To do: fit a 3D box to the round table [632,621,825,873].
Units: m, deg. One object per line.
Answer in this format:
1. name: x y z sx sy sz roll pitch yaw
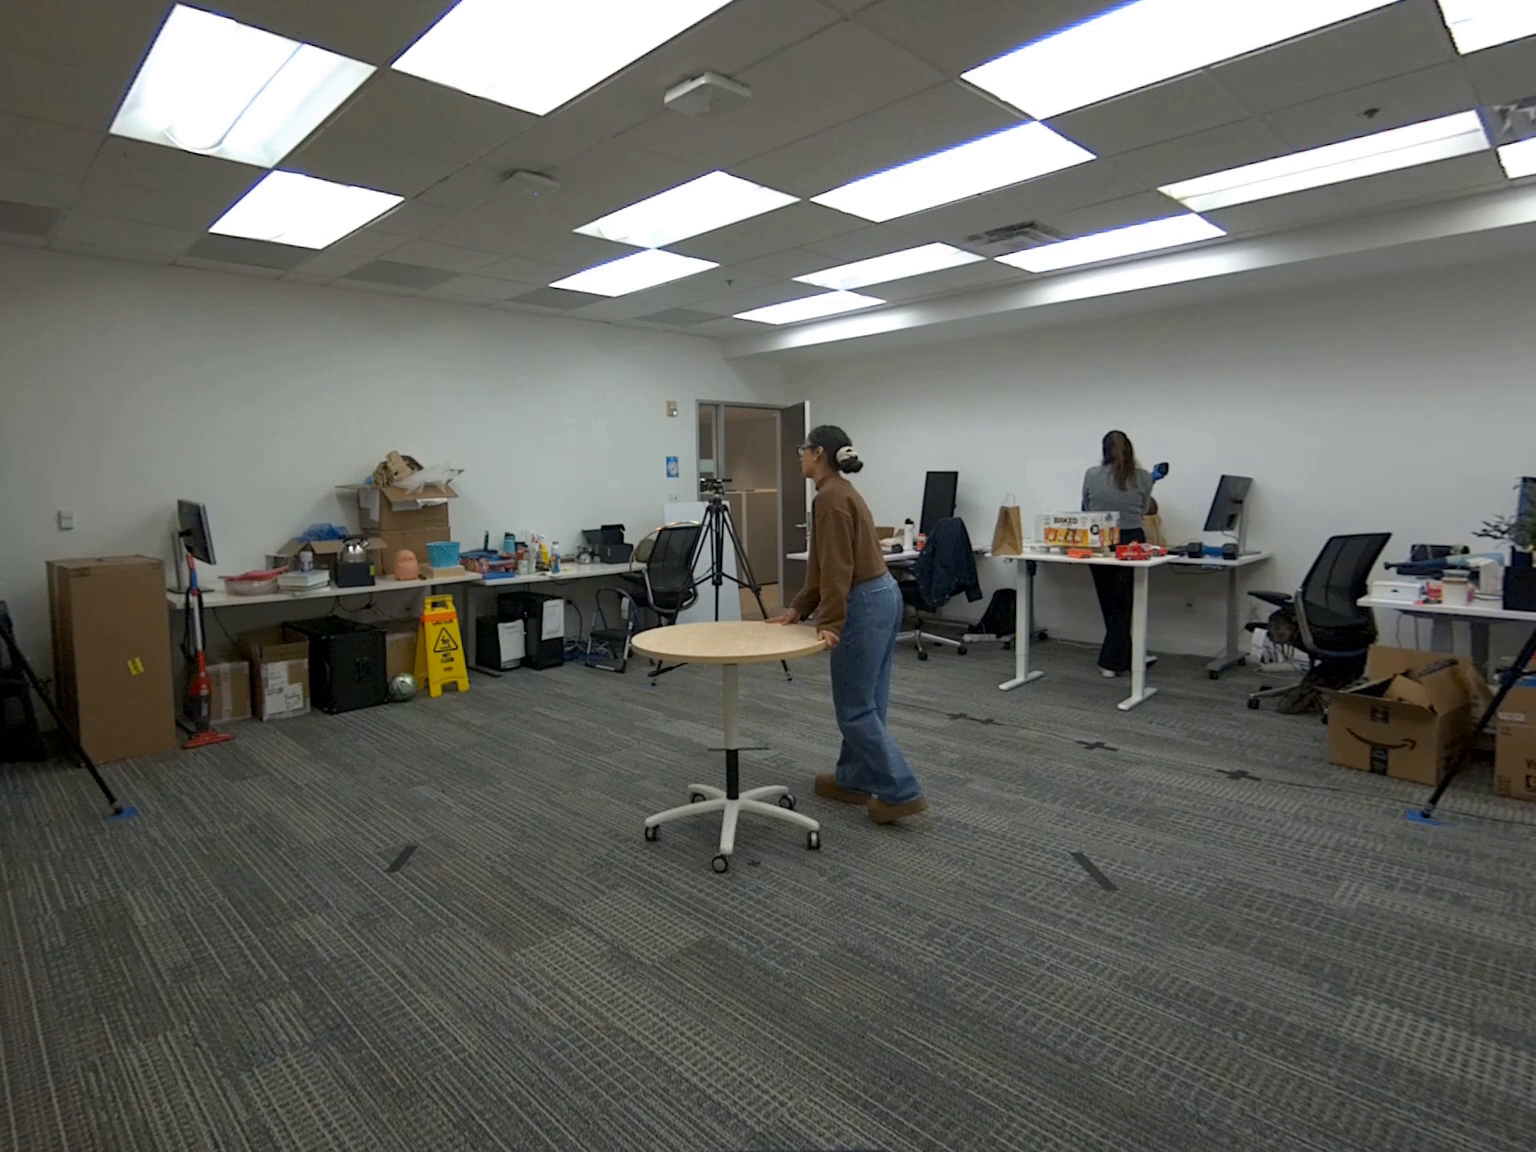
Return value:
1. round table: -0.158 0.624 3.354 0.784 0.784 0.789 -1 4 -2
